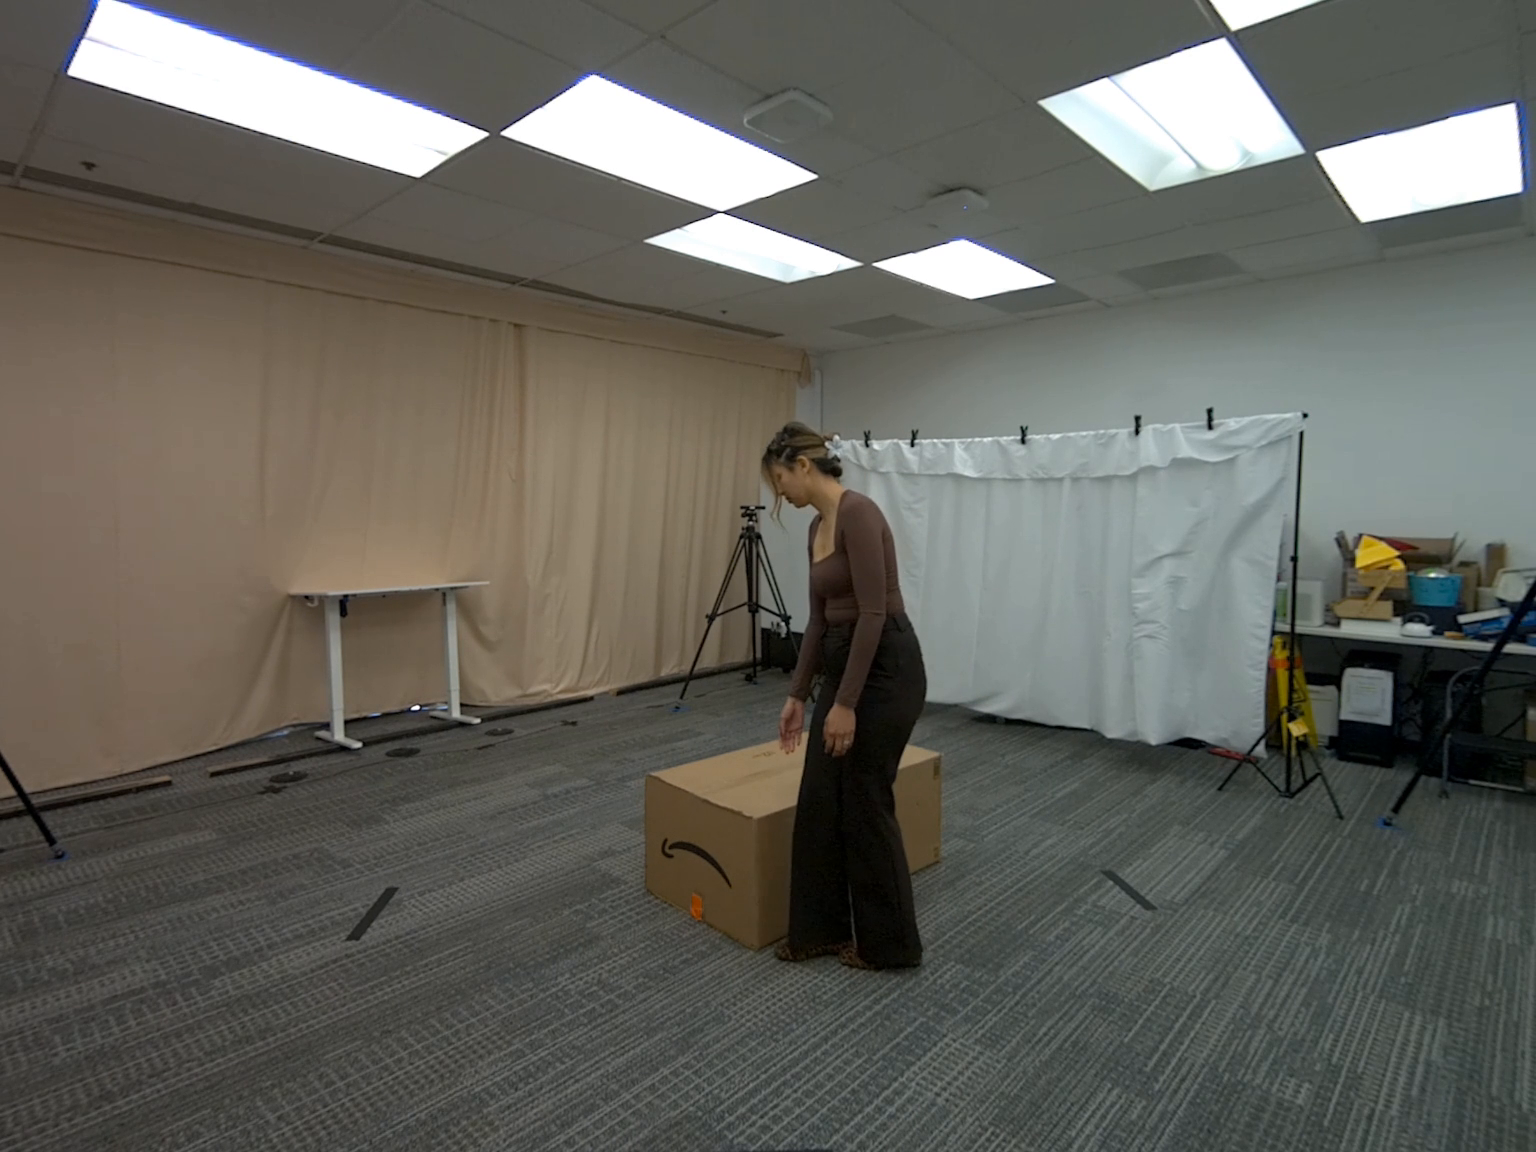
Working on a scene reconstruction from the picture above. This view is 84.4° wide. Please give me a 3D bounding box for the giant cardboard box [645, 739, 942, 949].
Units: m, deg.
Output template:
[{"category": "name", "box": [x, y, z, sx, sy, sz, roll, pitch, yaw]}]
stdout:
[{"category": "giant cardboard box", "box": [0.120, 0.919, 3.171, 0.995, 0.446, 0.603, -4, 4, -43]}]
